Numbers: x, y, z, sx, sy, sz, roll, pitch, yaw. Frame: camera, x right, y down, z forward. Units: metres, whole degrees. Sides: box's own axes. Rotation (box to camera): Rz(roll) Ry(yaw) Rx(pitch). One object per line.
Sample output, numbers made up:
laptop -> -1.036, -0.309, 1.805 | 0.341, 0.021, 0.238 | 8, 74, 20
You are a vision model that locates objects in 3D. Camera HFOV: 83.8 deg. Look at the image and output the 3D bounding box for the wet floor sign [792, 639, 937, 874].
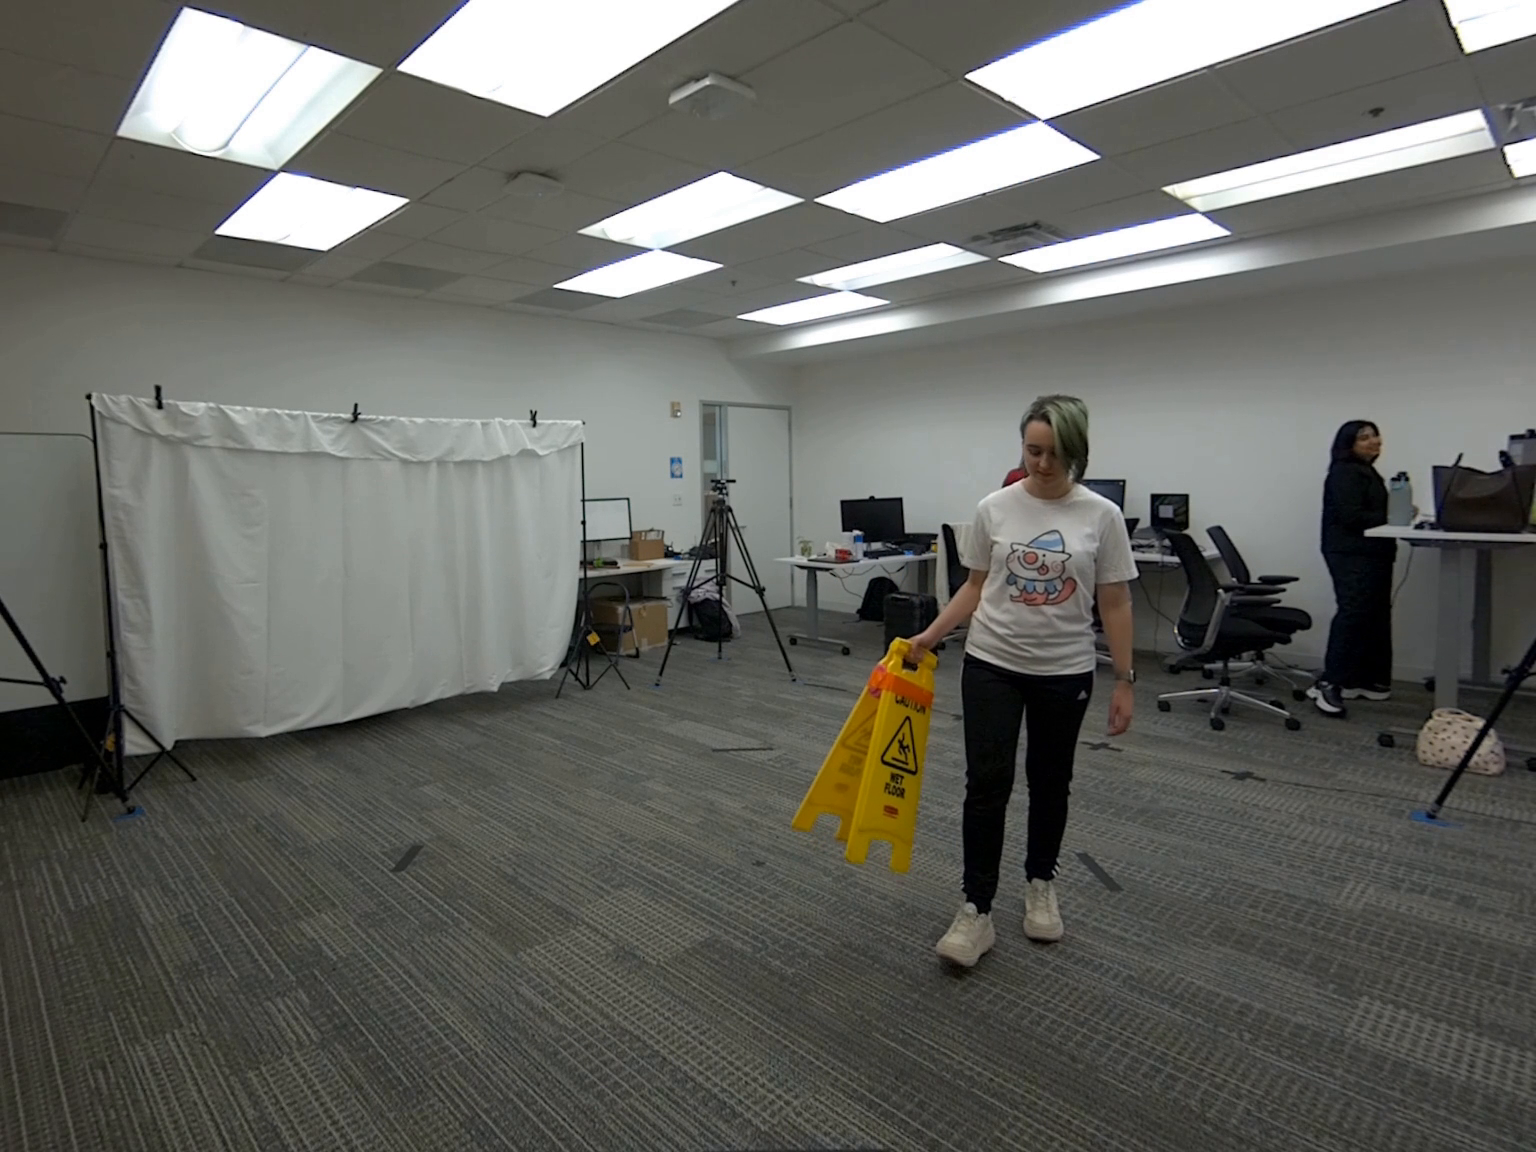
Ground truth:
wet floor sign -> 0.361, 0.527, 2.594 | 0.272, 0.649, 0.299 | 26, -11, -37
